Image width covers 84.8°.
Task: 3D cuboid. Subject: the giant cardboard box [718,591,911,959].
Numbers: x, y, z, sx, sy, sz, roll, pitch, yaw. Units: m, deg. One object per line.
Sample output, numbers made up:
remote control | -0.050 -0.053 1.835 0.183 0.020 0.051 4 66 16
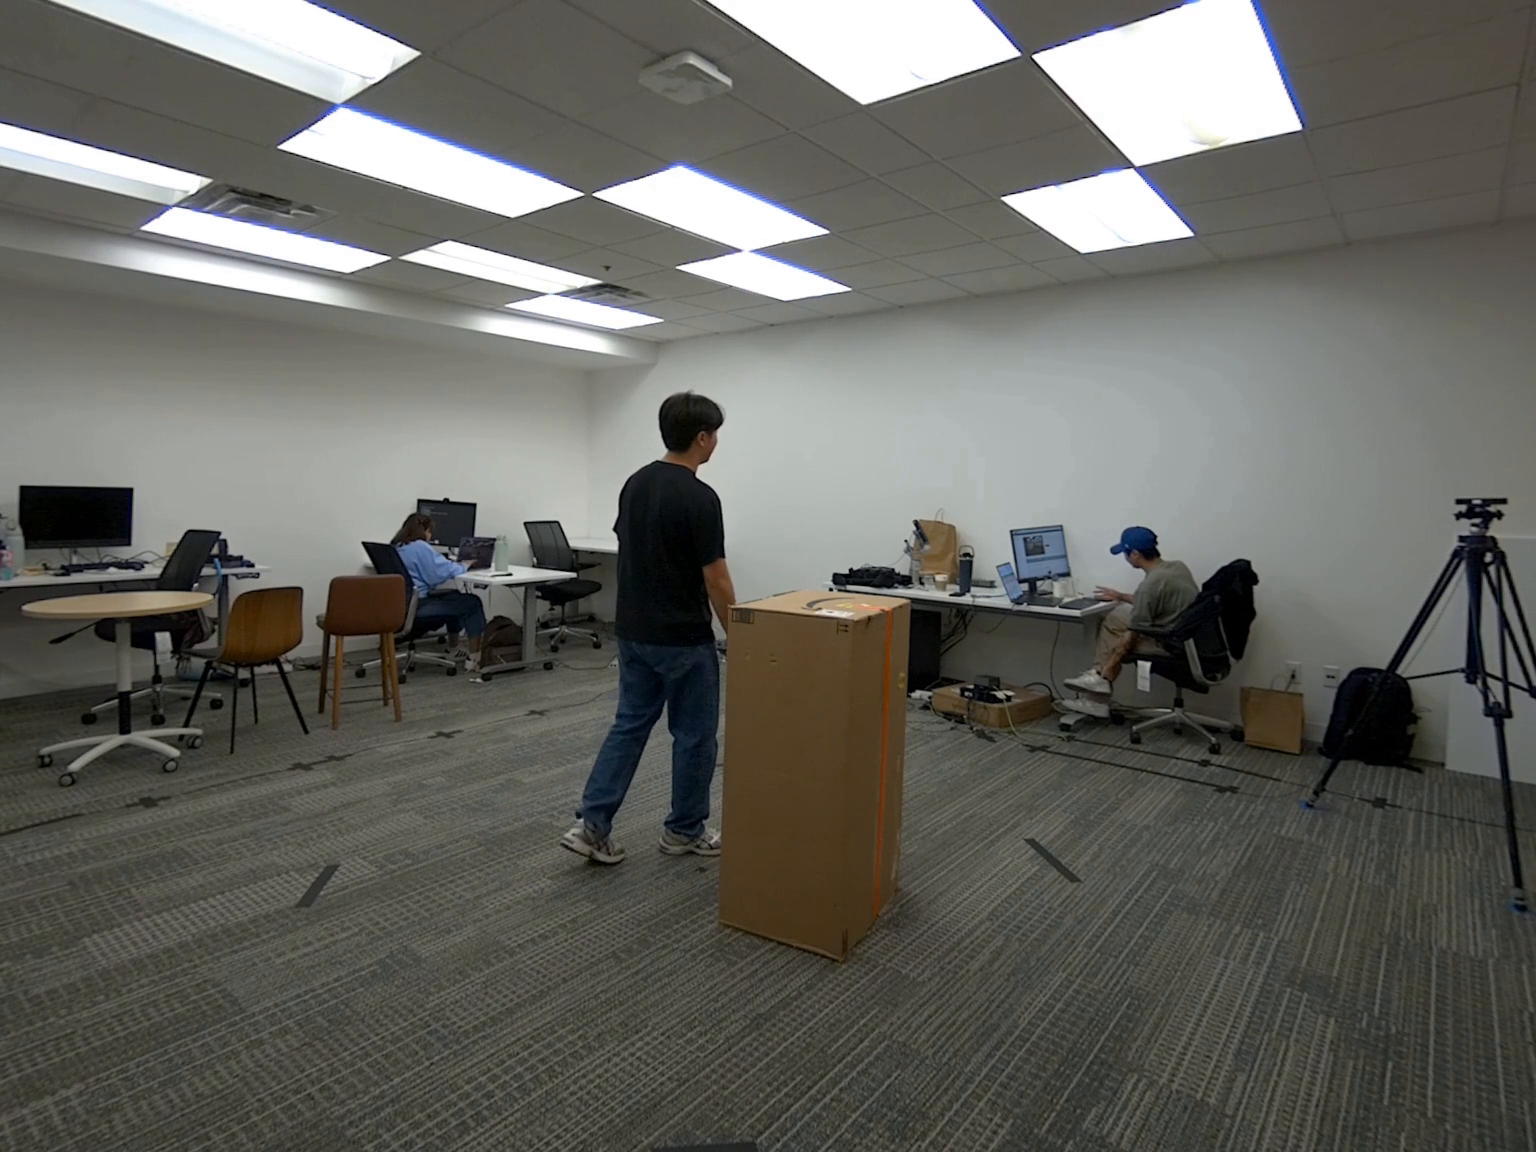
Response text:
giant cardboard box | 0.165 0.591 2.832 0.460 1.024 0.569 4 4 28
